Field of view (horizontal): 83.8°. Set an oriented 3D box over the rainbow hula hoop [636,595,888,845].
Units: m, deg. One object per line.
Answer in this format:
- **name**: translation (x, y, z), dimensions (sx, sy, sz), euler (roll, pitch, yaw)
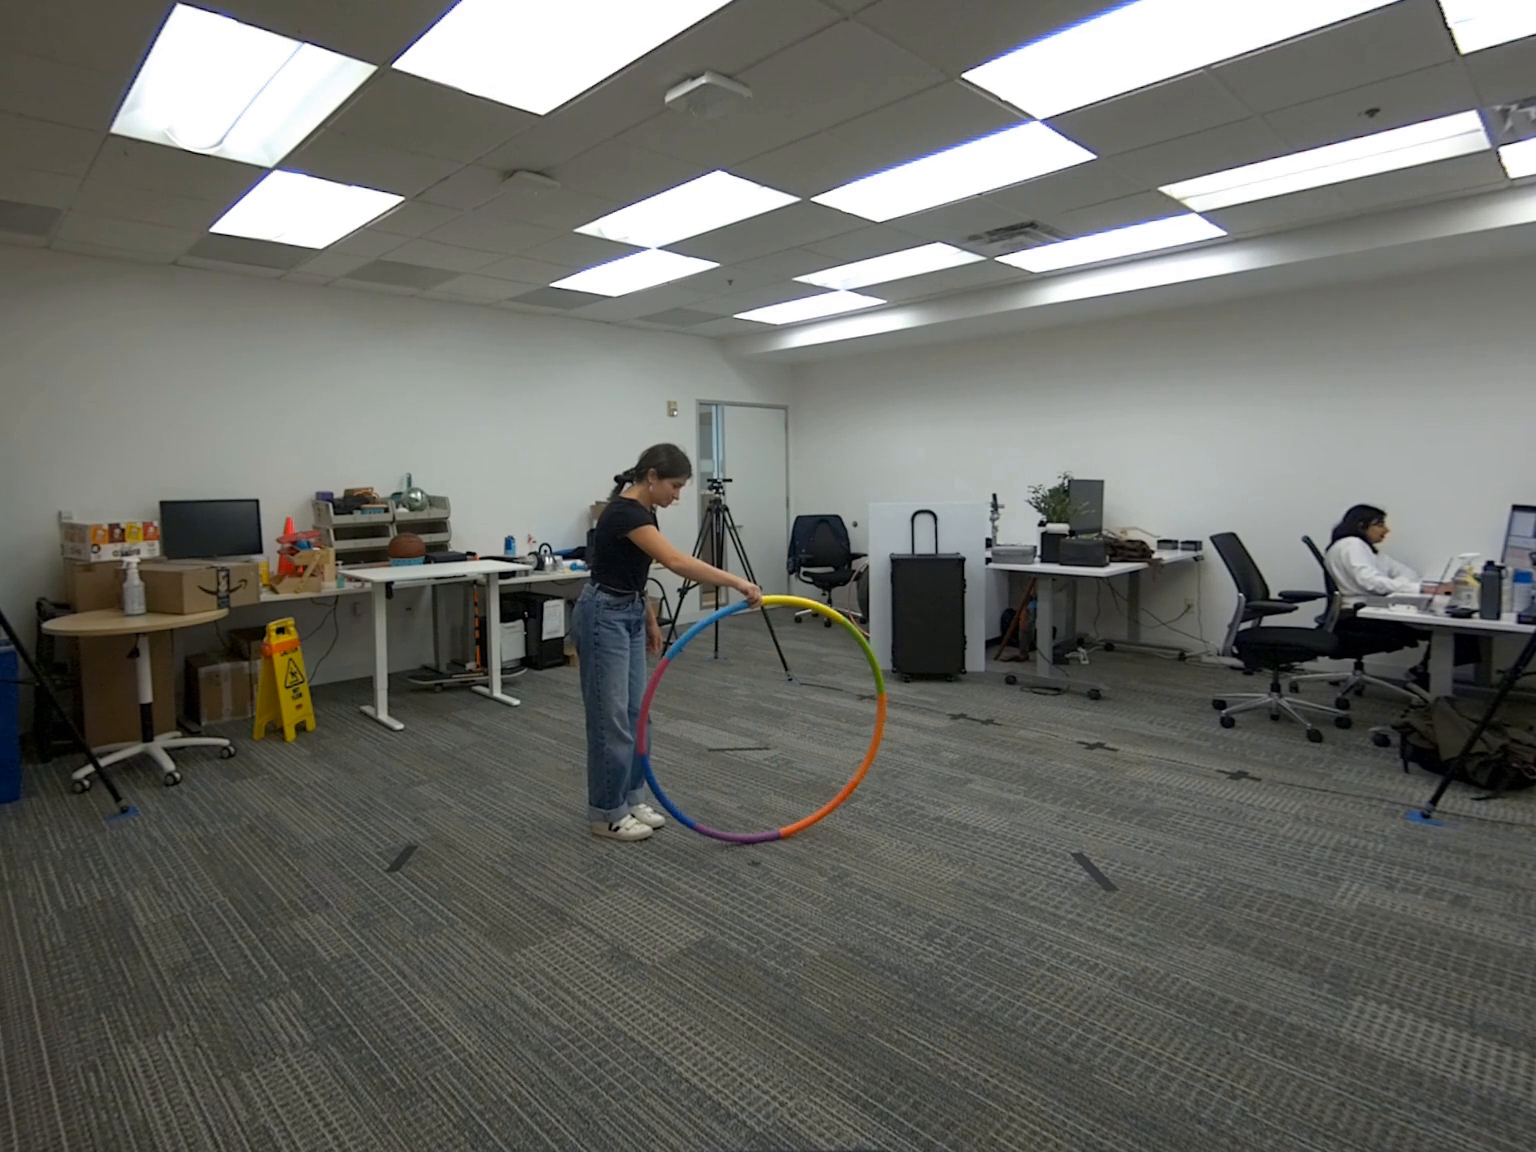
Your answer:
- **rainbow hula hoop**: translation (-0.006, 0.552, 3.223), dimensions (0.963, 0.969, 0.036), euler (-2, 11, -17)
